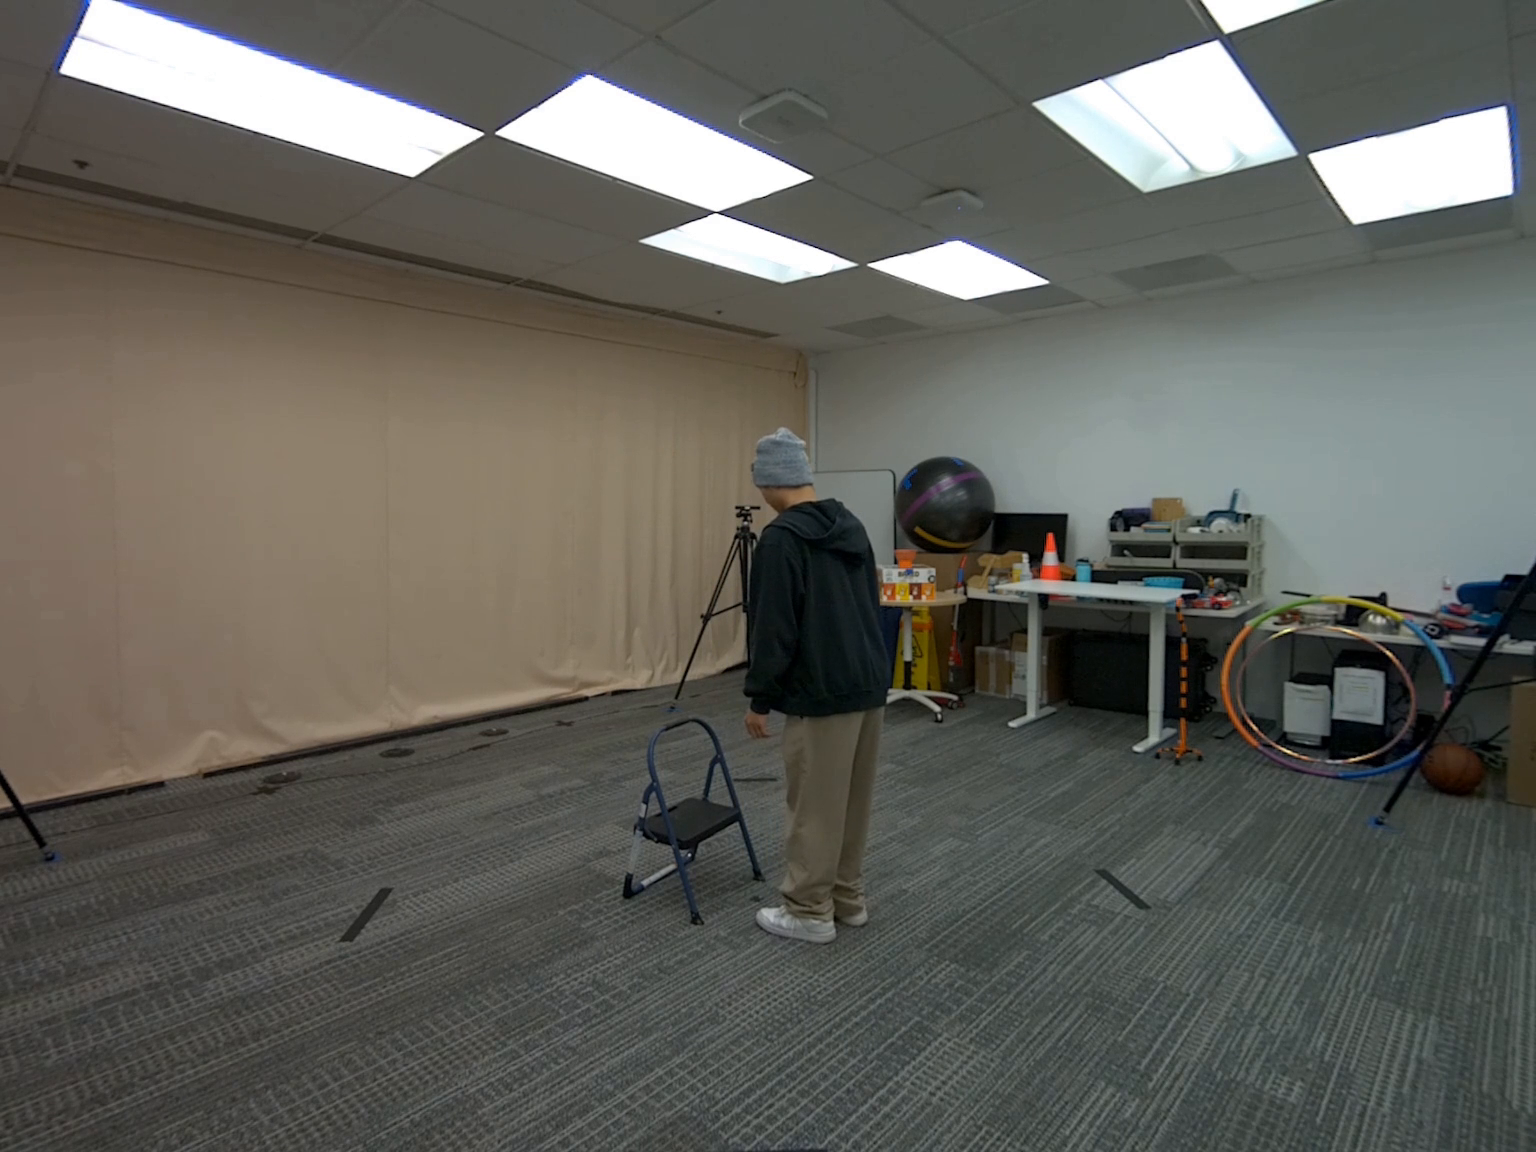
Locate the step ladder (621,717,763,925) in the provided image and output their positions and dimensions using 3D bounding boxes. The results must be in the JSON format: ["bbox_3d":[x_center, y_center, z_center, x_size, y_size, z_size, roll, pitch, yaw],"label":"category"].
[{"bbox_3d":[-0.267,0.836,3.054,0.360,0.605,0.419,2,4,32],"label":"step ladder"}]
